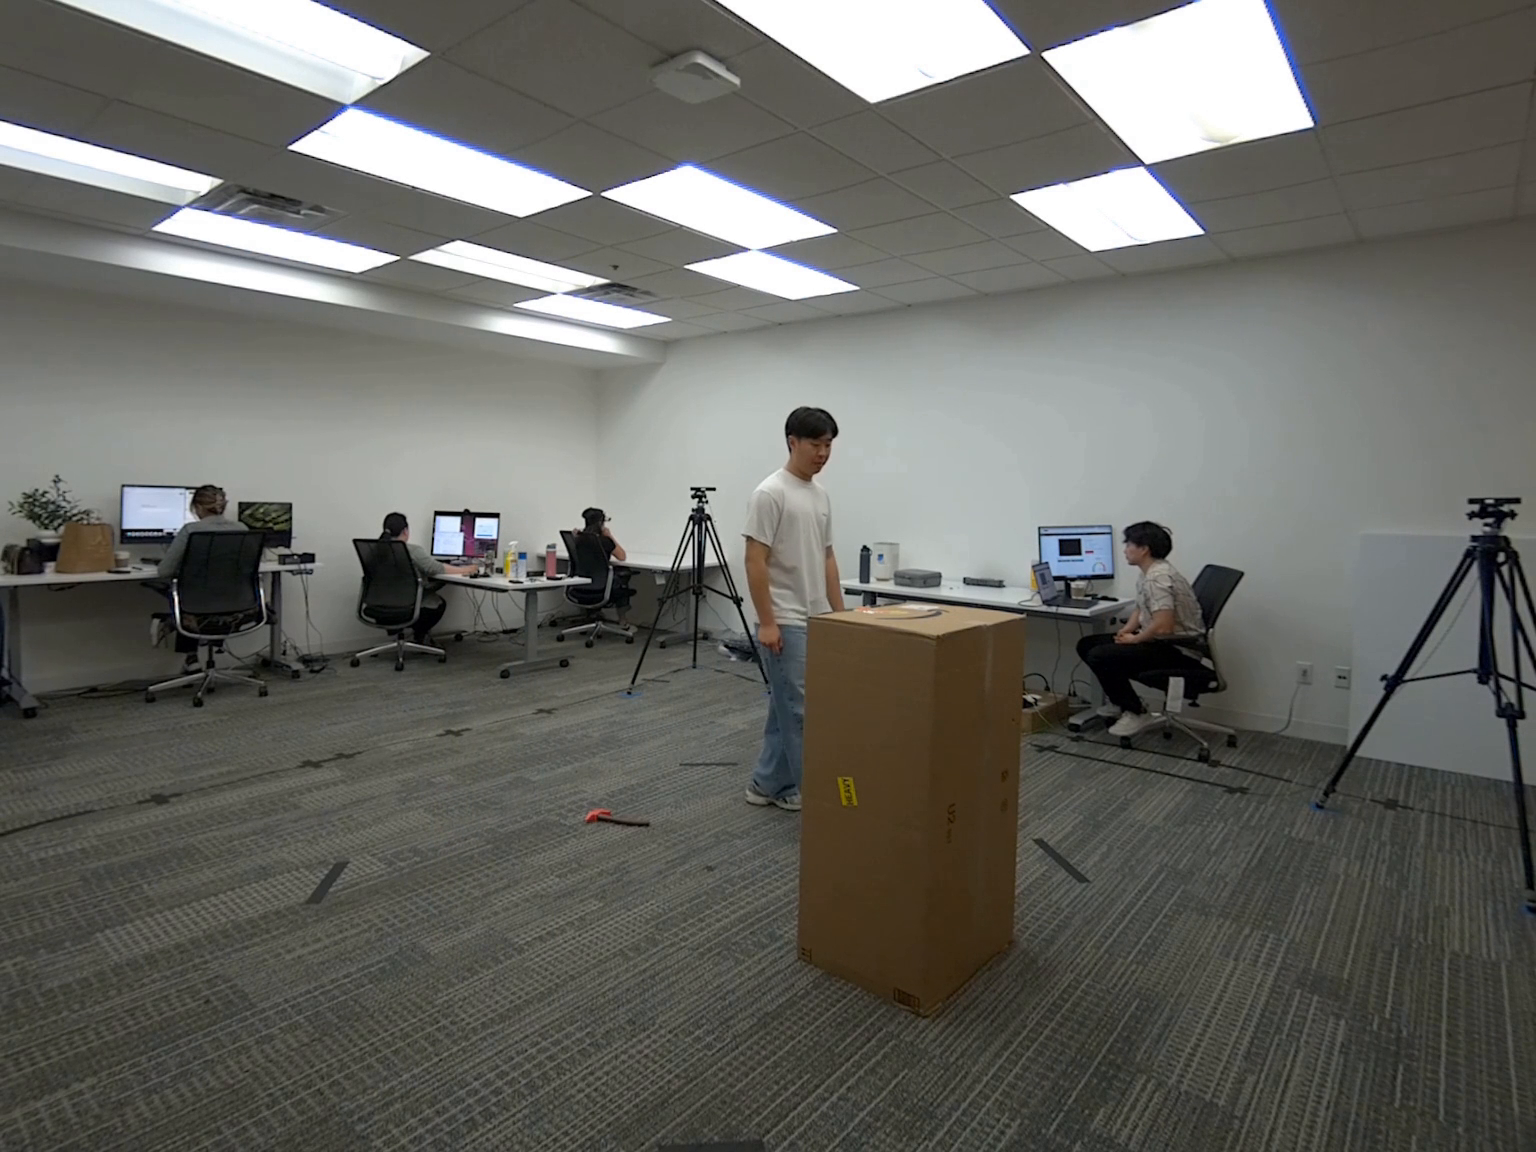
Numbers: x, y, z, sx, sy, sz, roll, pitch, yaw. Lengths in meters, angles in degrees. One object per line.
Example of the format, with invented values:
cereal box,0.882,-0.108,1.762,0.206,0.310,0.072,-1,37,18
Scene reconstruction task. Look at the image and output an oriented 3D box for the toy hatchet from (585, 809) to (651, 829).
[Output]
toy hatchet,-0.636,1.005,3.559,0.271,0.029,0.131,3,5,3
